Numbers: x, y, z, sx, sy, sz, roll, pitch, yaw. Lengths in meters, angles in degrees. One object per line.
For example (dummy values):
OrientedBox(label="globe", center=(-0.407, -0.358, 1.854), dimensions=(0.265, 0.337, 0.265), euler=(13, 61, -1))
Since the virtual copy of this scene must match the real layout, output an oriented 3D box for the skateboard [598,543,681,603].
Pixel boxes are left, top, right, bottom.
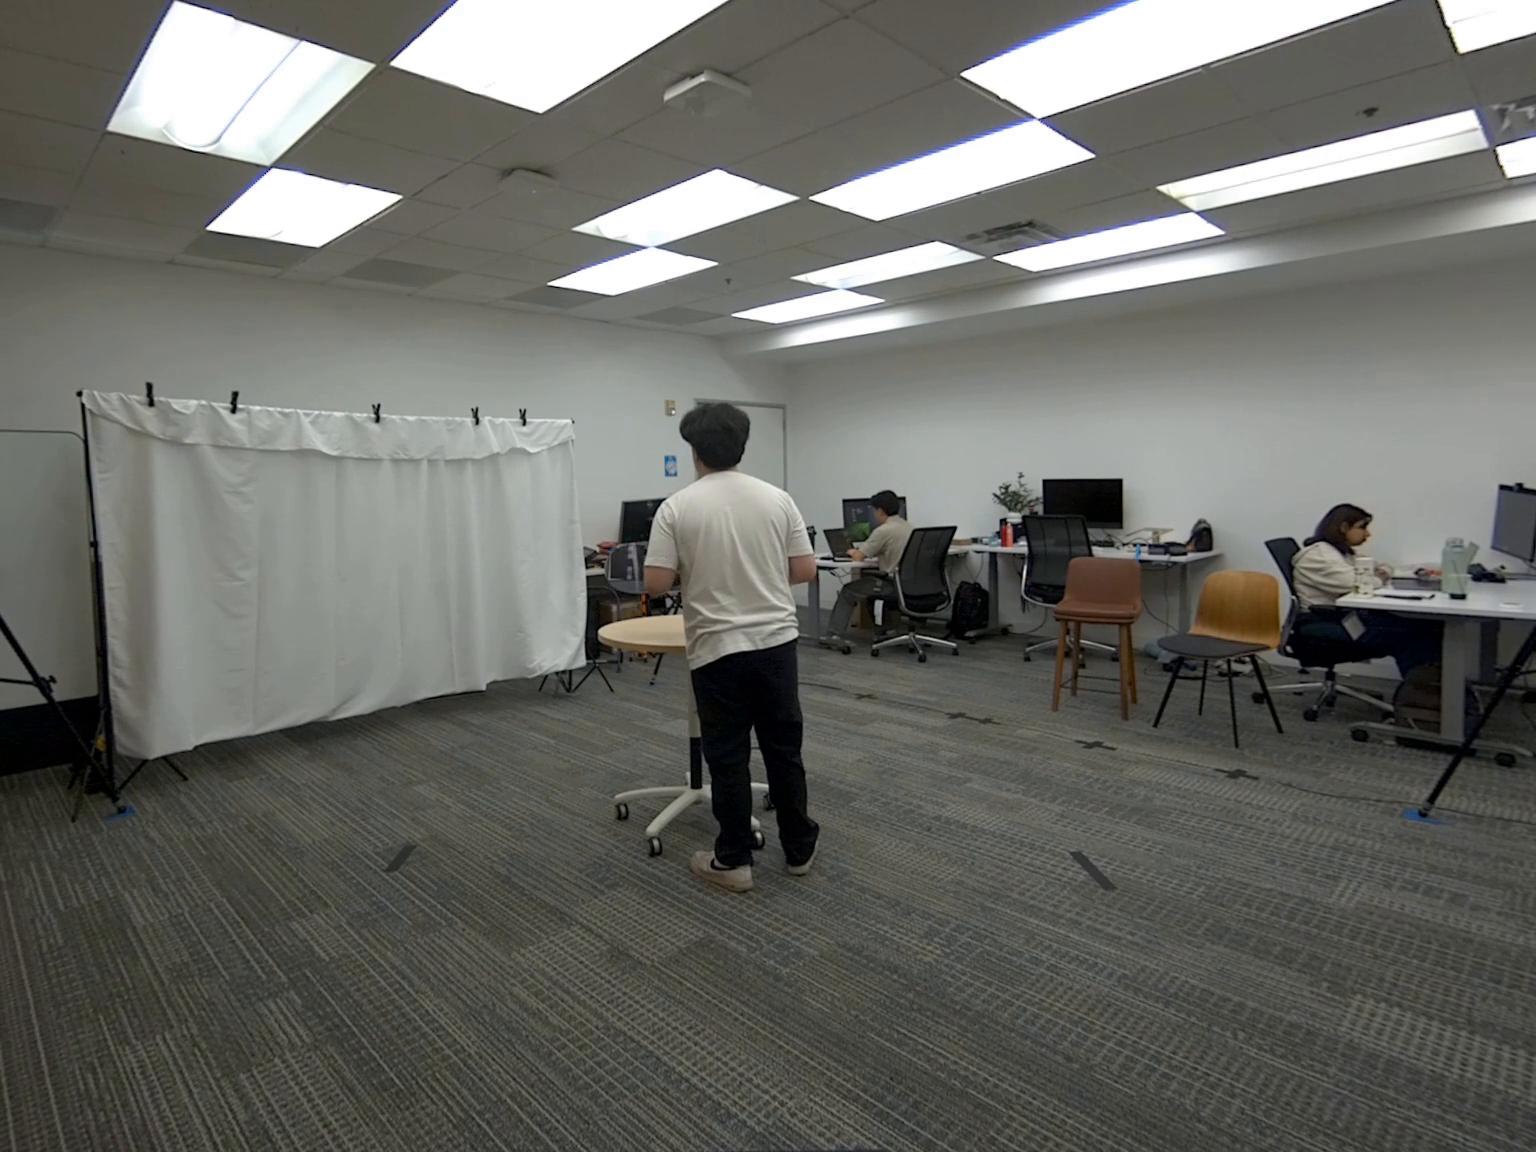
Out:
OrientedBox(label="skateboard", center=(-0.221, -0.053, 3.212), dimensions=(0.774, 0.197, 0.110), euler=(-2, -18, -15))
